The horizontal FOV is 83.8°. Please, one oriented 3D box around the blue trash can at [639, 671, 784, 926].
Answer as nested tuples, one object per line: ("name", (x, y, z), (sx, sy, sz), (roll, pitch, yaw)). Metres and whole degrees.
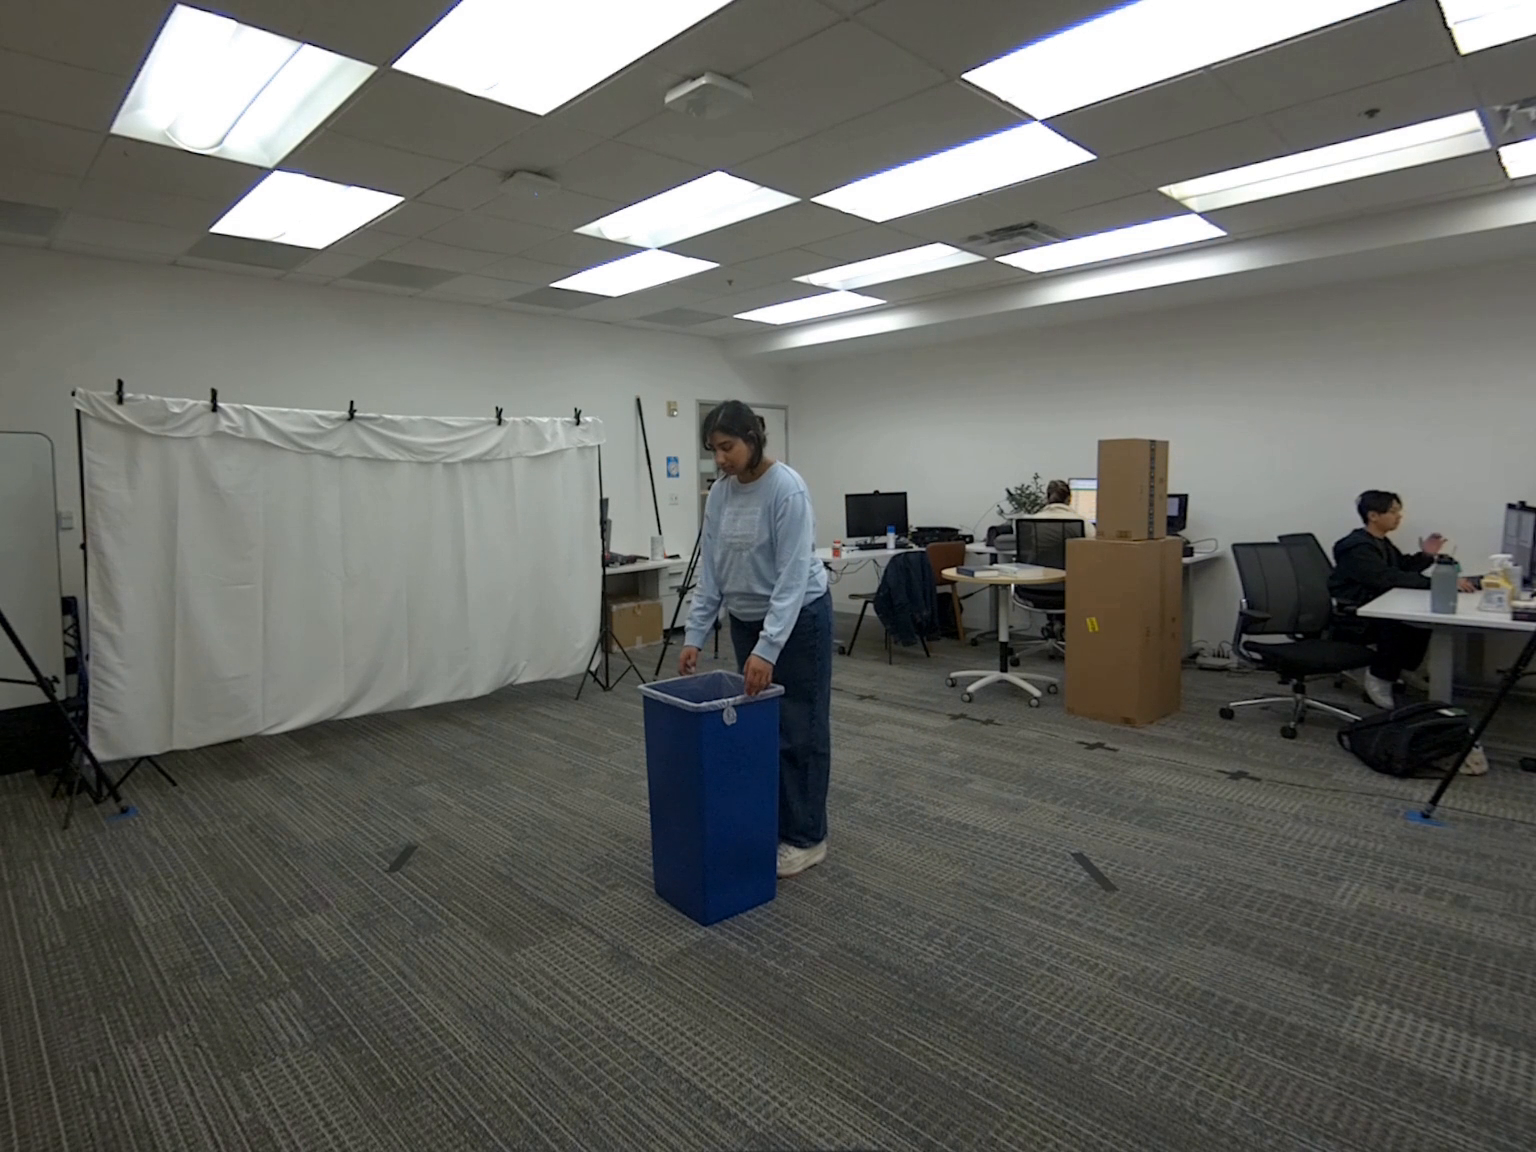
("blue trash can", (-0.189, 0.720, 2.855), (0.368, 0.711, 0.385), (-4, 5, -40))
